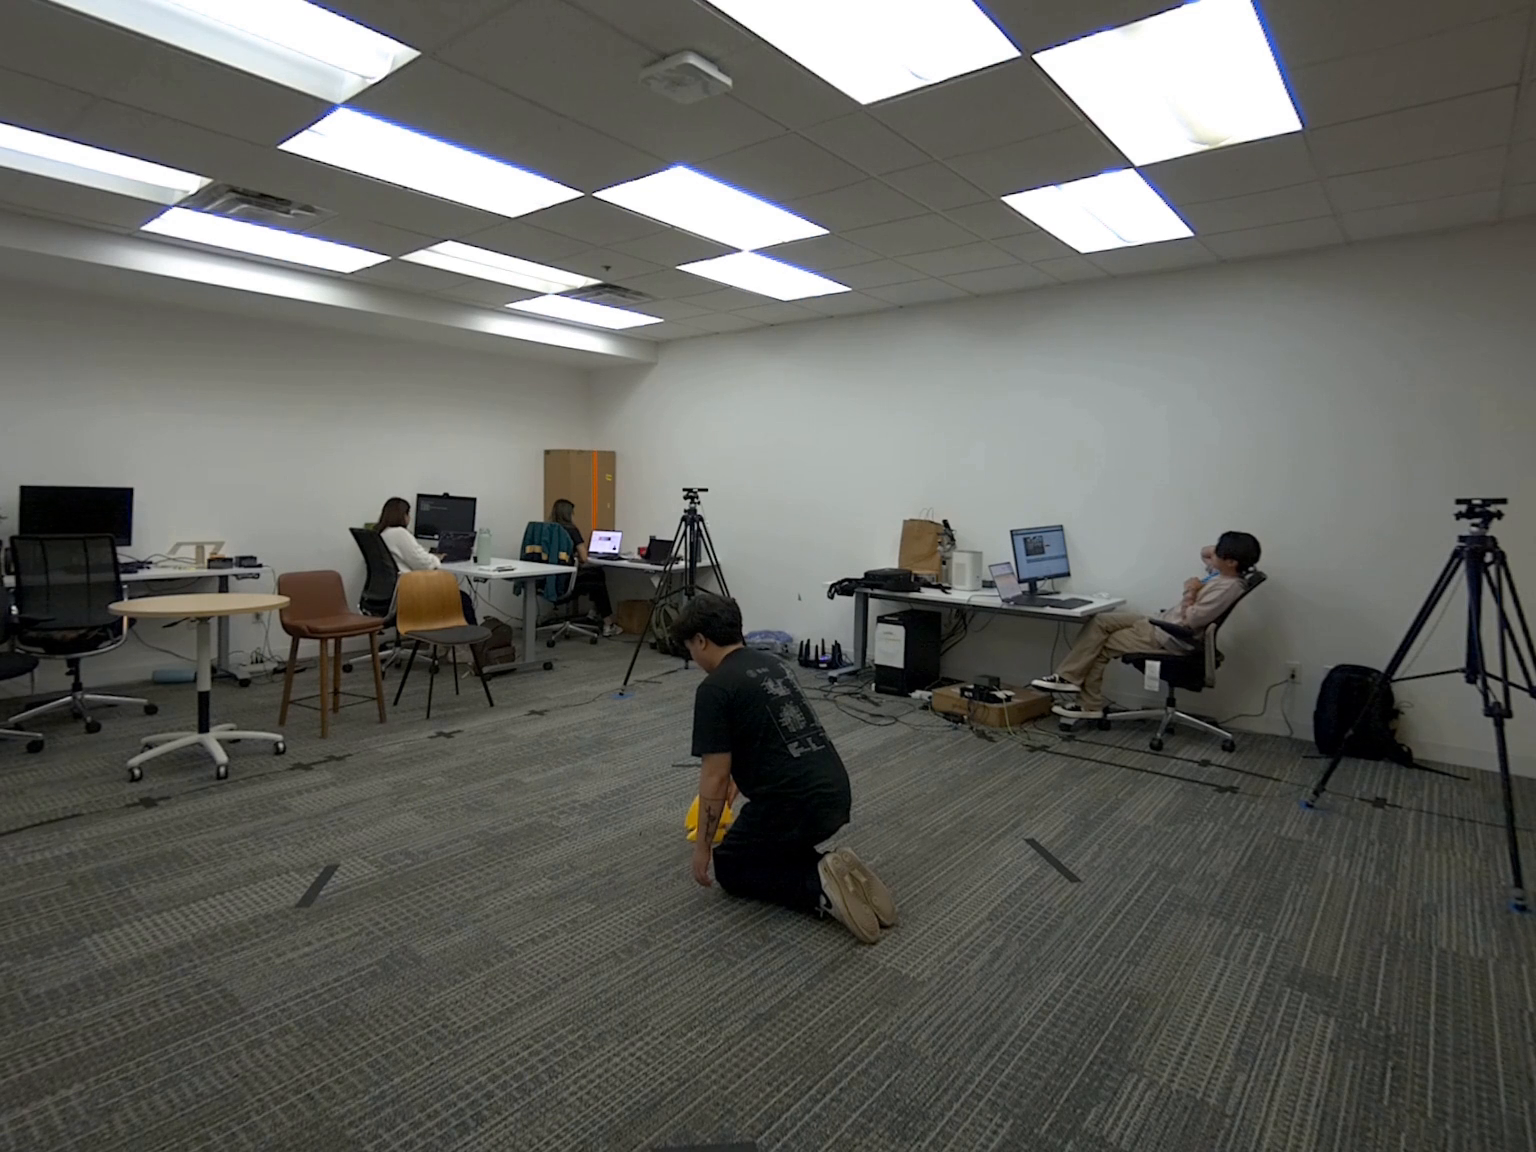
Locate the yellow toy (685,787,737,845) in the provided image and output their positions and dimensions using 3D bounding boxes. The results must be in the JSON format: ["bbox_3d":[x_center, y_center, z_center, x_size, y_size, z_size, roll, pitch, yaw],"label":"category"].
[{"bbox_3d":[-0.255,0.922,3.442,0.192,0.230,0.206,2,3,-6],"label":"yellow toy"}]
